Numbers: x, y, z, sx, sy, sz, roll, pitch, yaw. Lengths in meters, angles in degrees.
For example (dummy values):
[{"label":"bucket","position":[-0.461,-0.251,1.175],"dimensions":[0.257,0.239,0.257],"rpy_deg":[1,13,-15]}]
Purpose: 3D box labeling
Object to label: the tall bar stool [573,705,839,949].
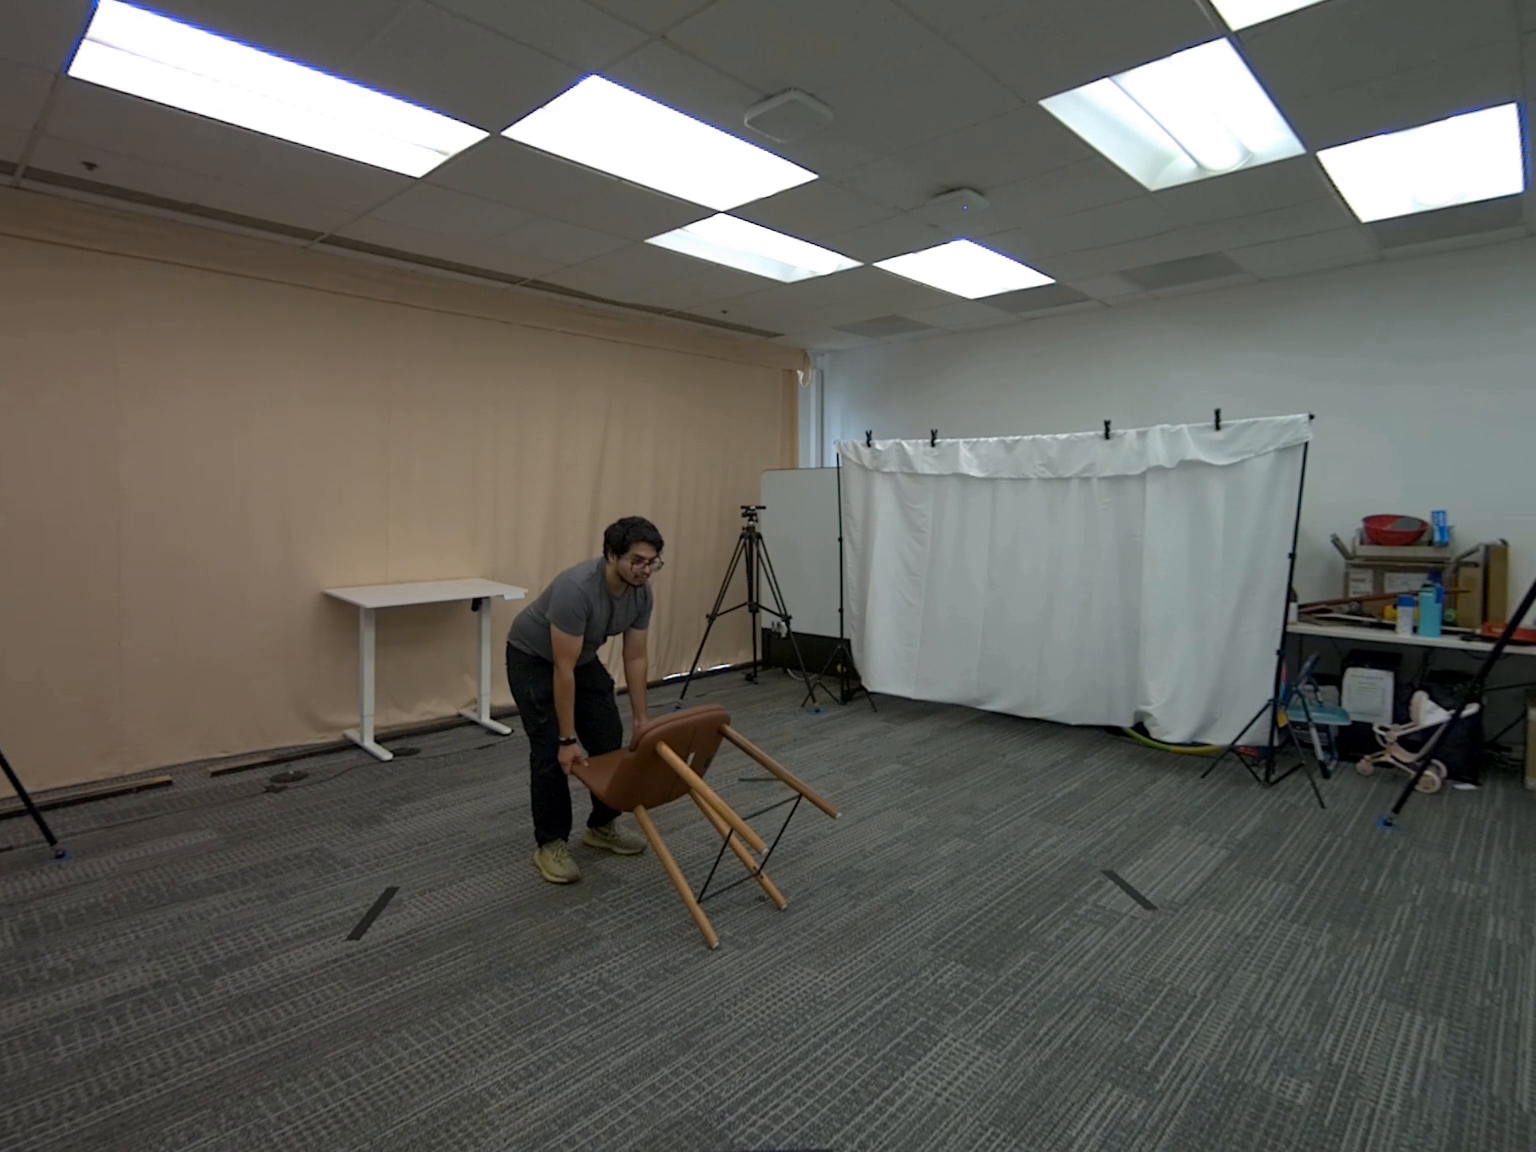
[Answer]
[{"label":"tall bar stool","position":[-0.263,0.741,2.937],"dimensions":[0.921,0.466,0.442],"rpy_deg":[37,26,33]}]
